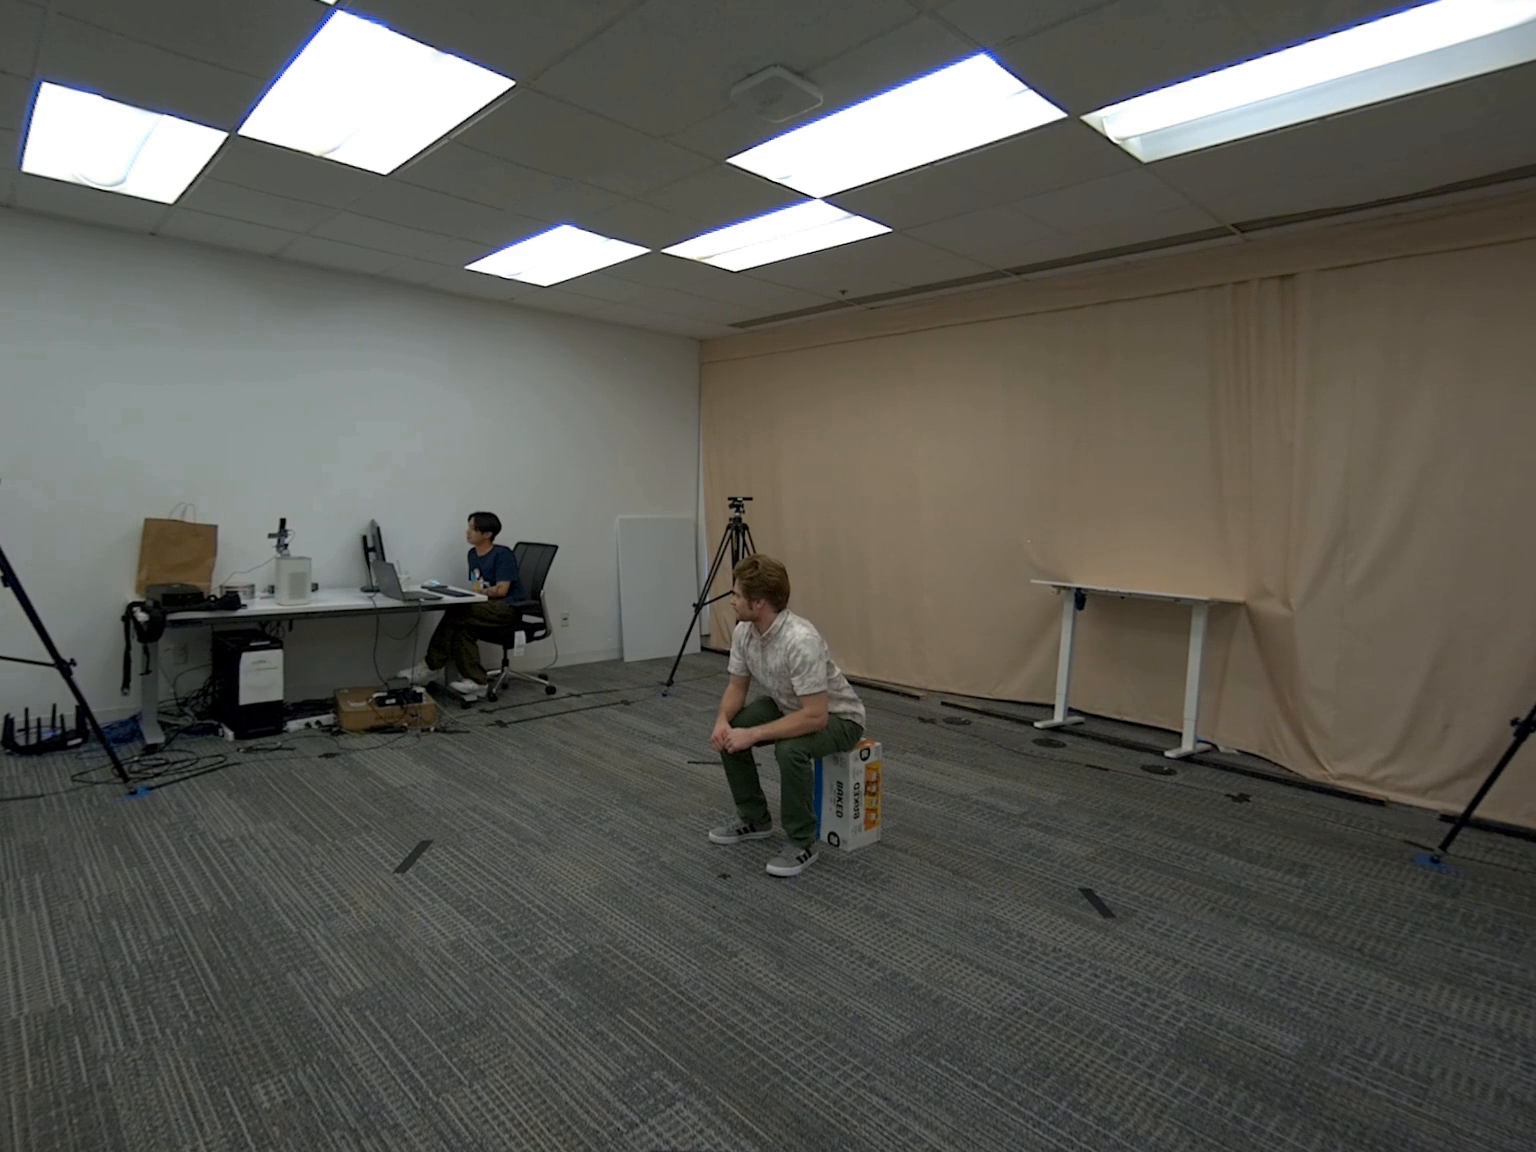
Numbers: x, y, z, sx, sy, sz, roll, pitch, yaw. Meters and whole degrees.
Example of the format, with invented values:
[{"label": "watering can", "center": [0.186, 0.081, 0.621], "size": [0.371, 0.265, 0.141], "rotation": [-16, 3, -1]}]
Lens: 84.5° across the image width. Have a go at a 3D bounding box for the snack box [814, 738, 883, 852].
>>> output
[{"label": "snack box", "center": [0.275, 0.881, 3.534], "size": [0.201, 0.404, 0.349], "rotation": [-3, 5, -41]}]
